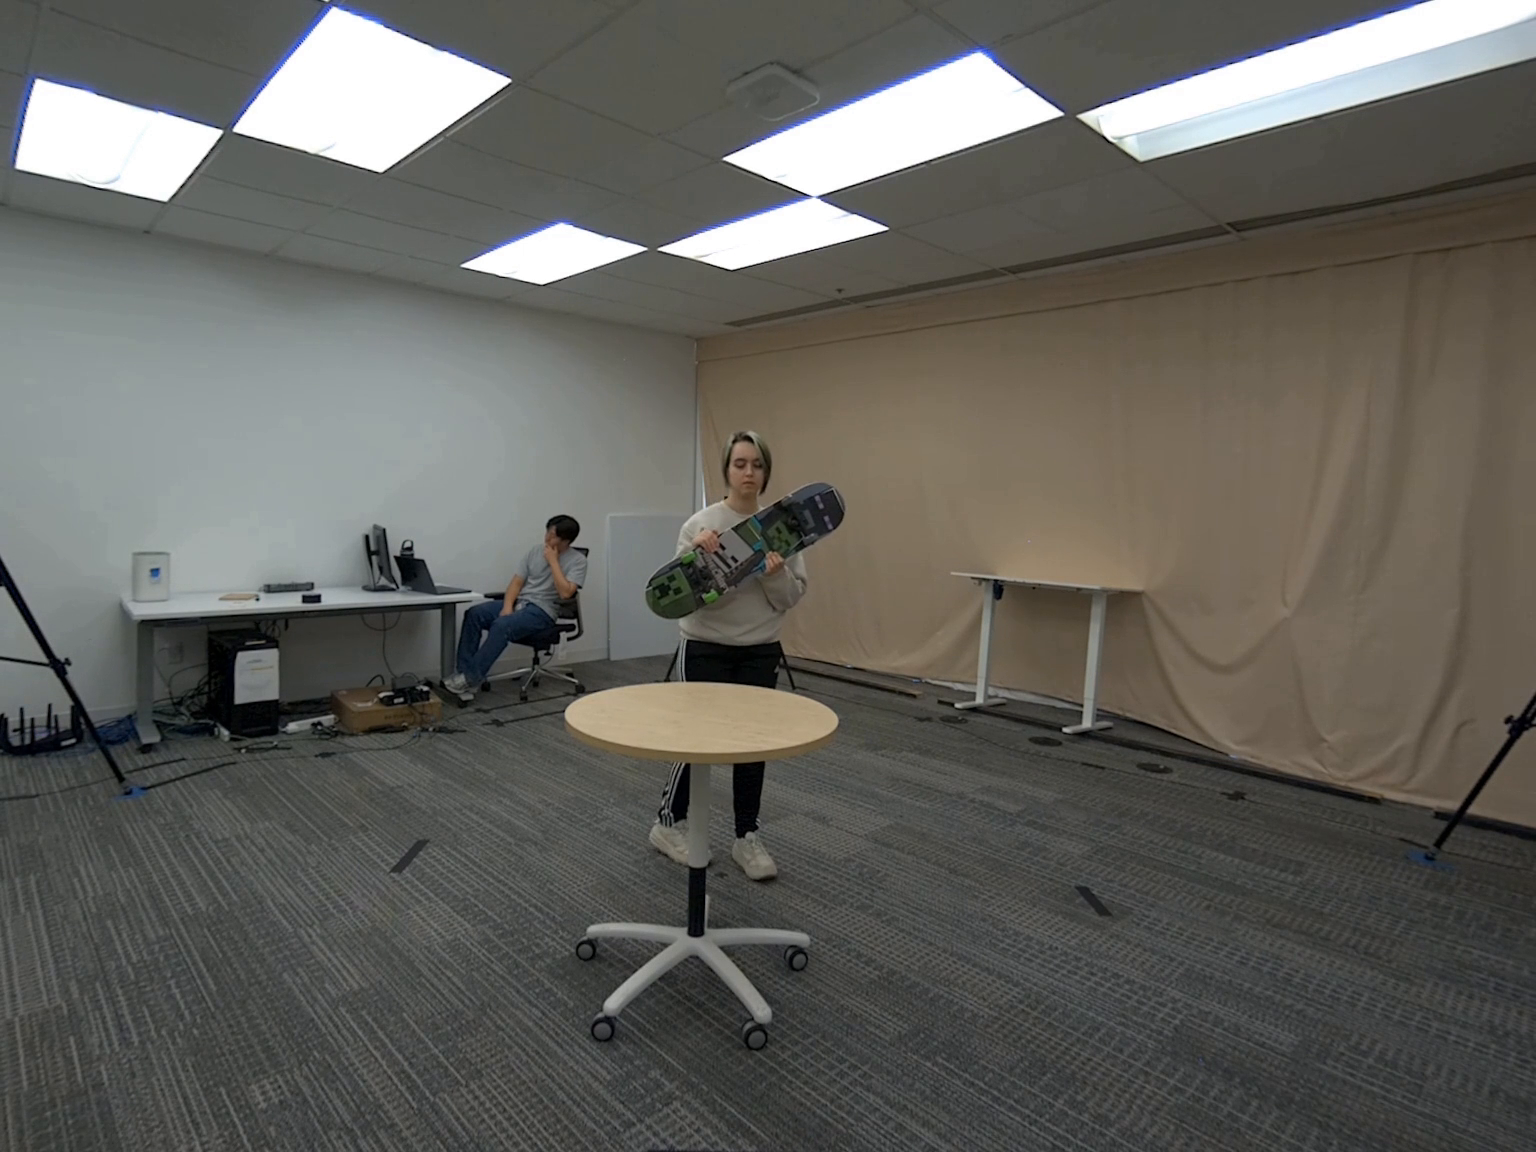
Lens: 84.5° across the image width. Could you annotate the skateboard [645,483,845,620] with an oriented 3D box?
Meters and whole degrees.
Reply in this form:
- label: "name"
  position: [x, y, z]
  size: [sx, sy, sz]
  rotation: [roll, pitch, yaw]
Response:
- label: "skateboard"
  position: [-0.077, -0.090, 2.904]
  size: [0.783, 0.193, 0.111]
  rotation: [-30, 2, -8]
